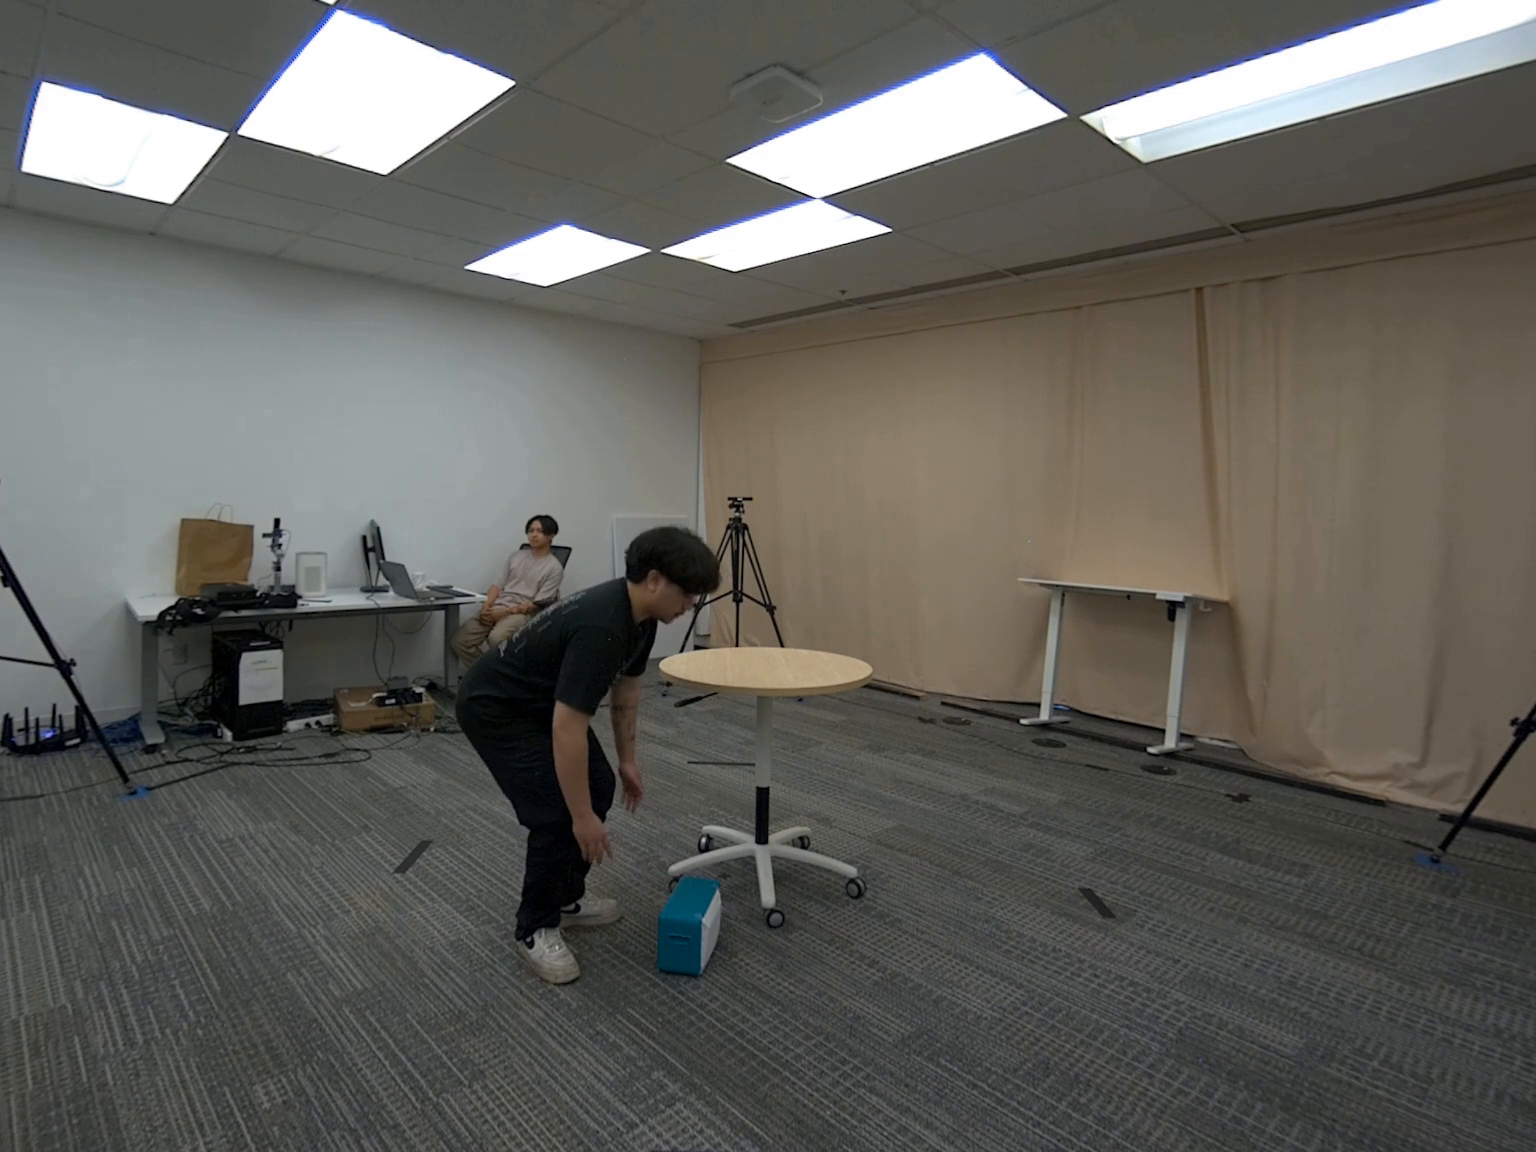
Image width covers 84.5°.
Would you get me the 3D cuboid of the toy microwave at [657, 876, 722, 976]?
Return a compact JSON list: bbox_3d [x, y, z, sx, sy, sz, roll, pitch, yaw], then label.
[{"bbox_3d":[-0.232,1.055,2.570,0.154,0.183,0.284,2,4,11],"label":"toy microwave"}]
